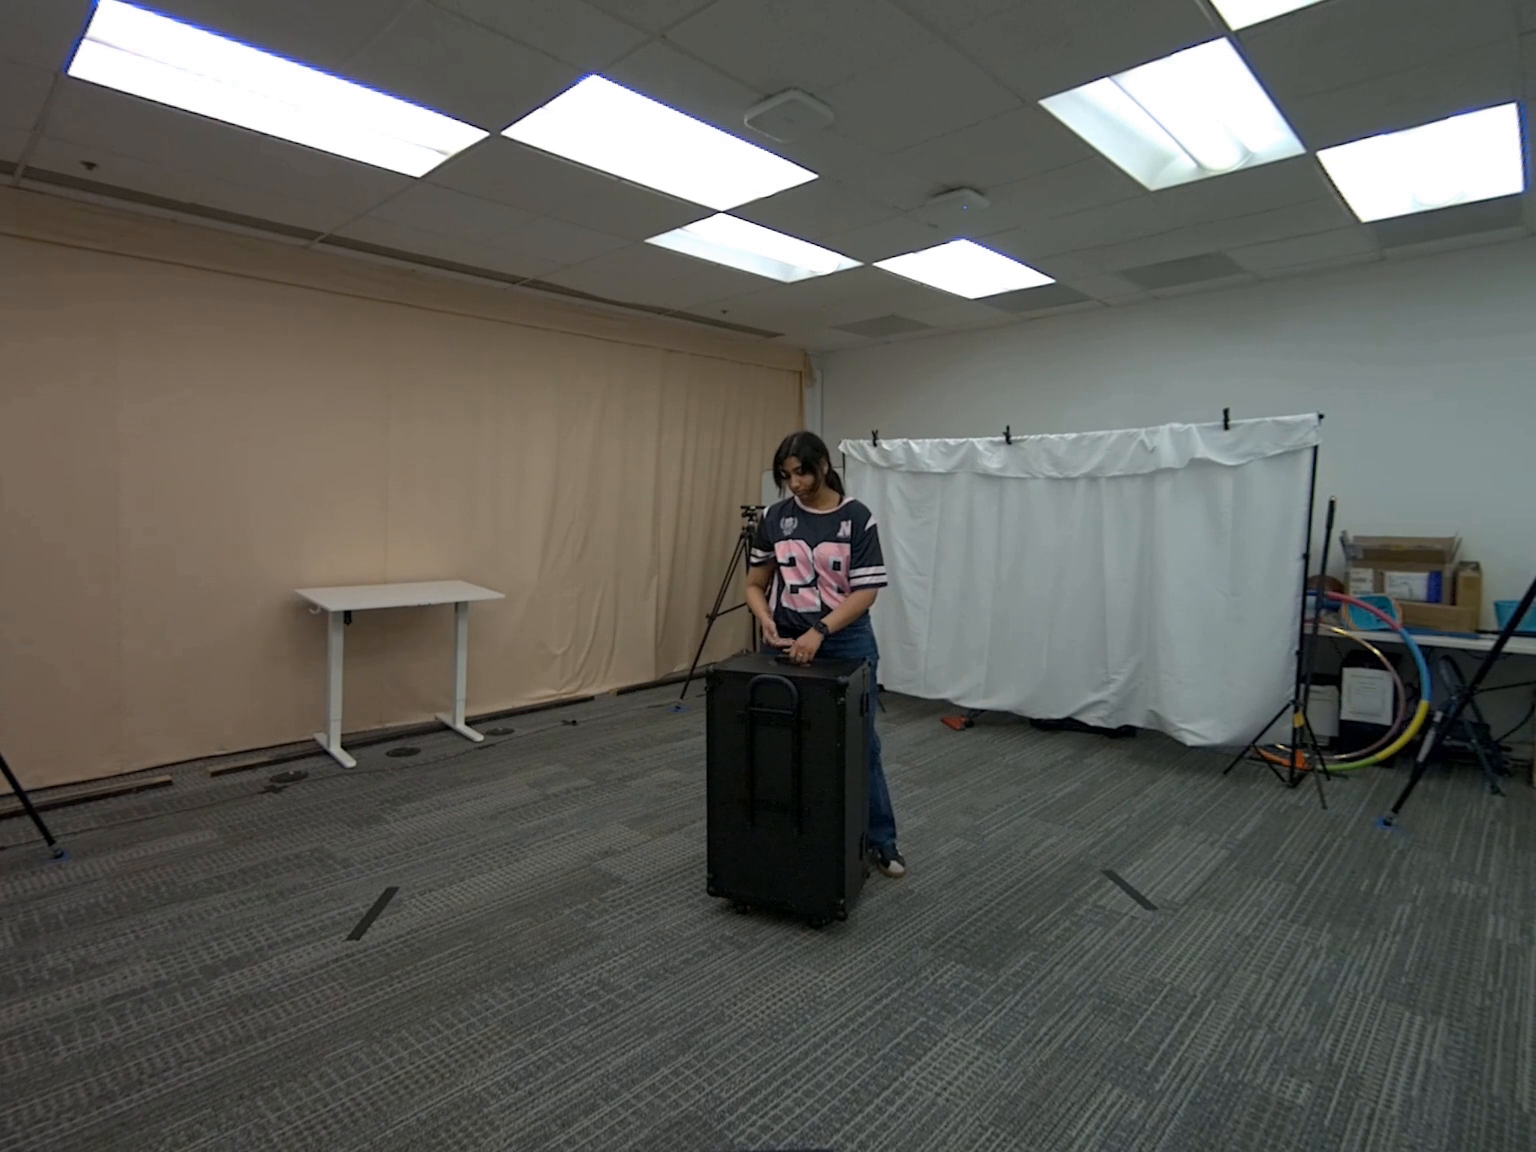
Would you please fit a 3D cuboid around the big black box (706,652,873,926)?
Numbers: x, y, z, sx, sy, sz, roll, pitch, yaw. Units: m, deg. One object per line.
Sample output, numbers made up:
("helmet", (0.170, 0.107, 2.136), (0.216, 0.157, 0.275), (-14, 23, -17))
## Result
("big black box", (0.079, 0.730, 2.893), (0.533, 0.859, 0.388), (1, 4, 21))
